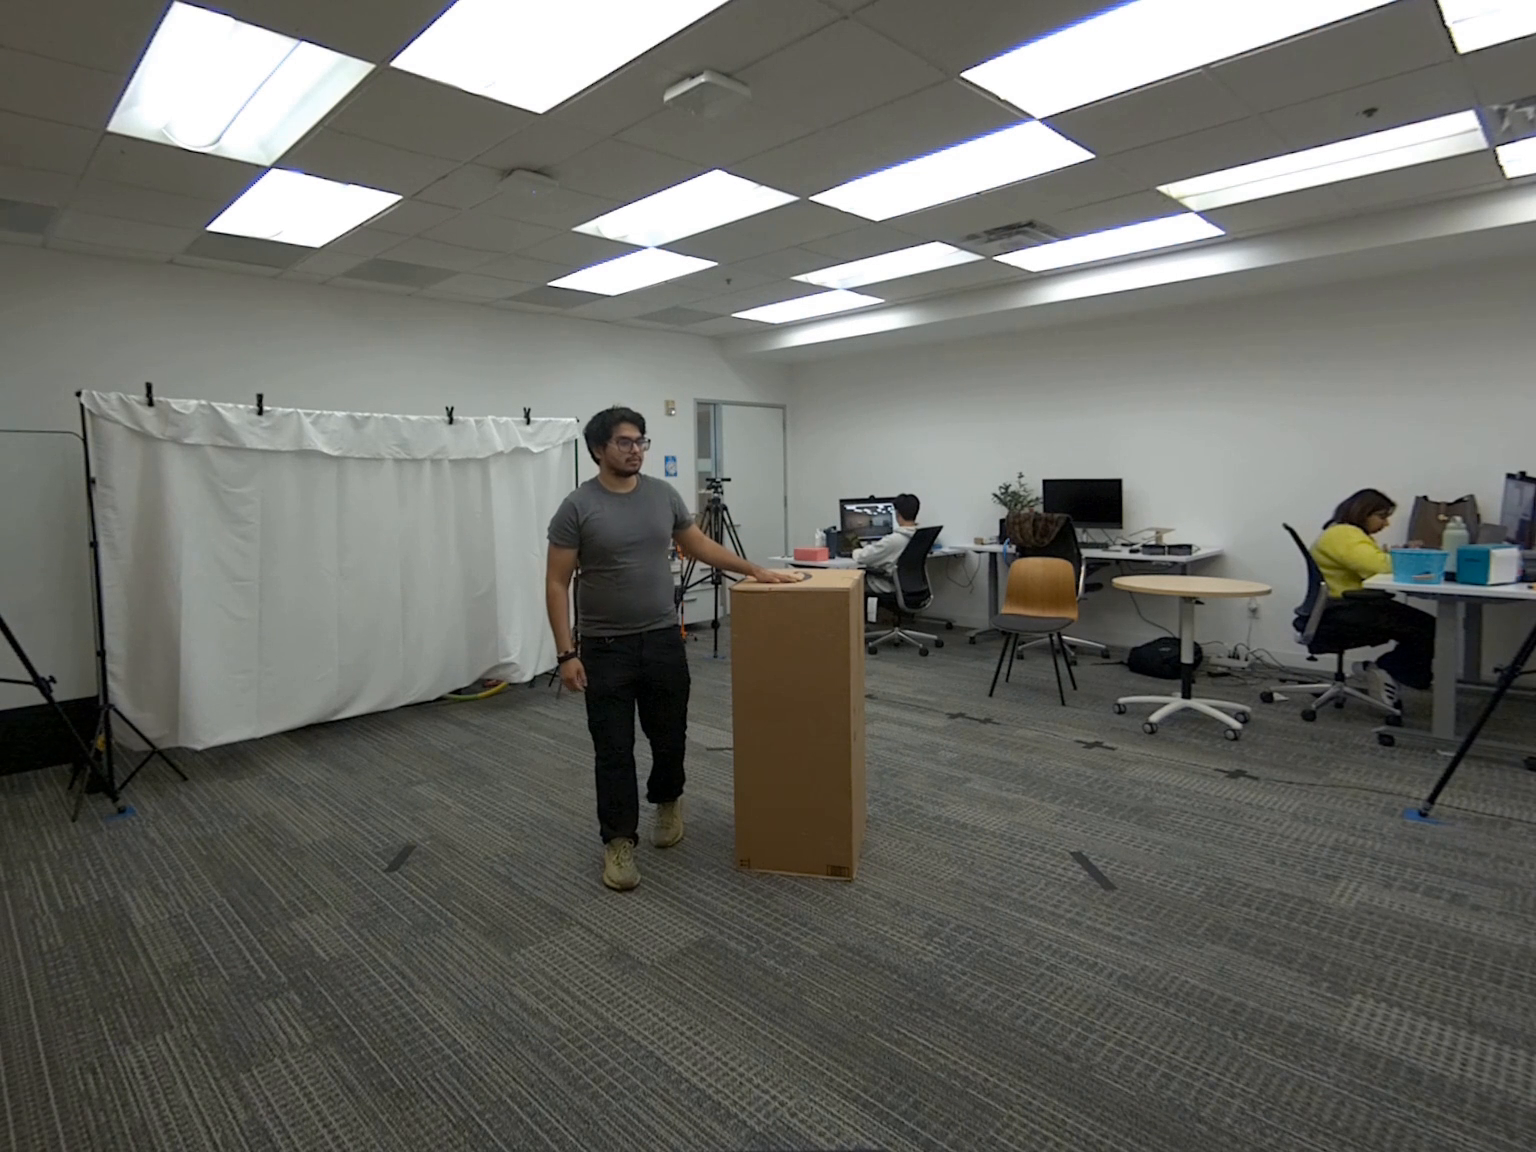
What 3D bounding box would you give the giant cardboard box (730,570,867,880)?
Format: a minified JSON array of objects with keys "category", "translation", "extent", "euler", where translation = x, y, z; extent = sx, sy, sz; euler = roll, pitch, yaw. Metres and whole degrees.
[{"category":"giant cardboard box","translation":[0.127,0.510,3.239],"extent":[0.432,1.021,0.573],"euler":[0,5,12]}]
